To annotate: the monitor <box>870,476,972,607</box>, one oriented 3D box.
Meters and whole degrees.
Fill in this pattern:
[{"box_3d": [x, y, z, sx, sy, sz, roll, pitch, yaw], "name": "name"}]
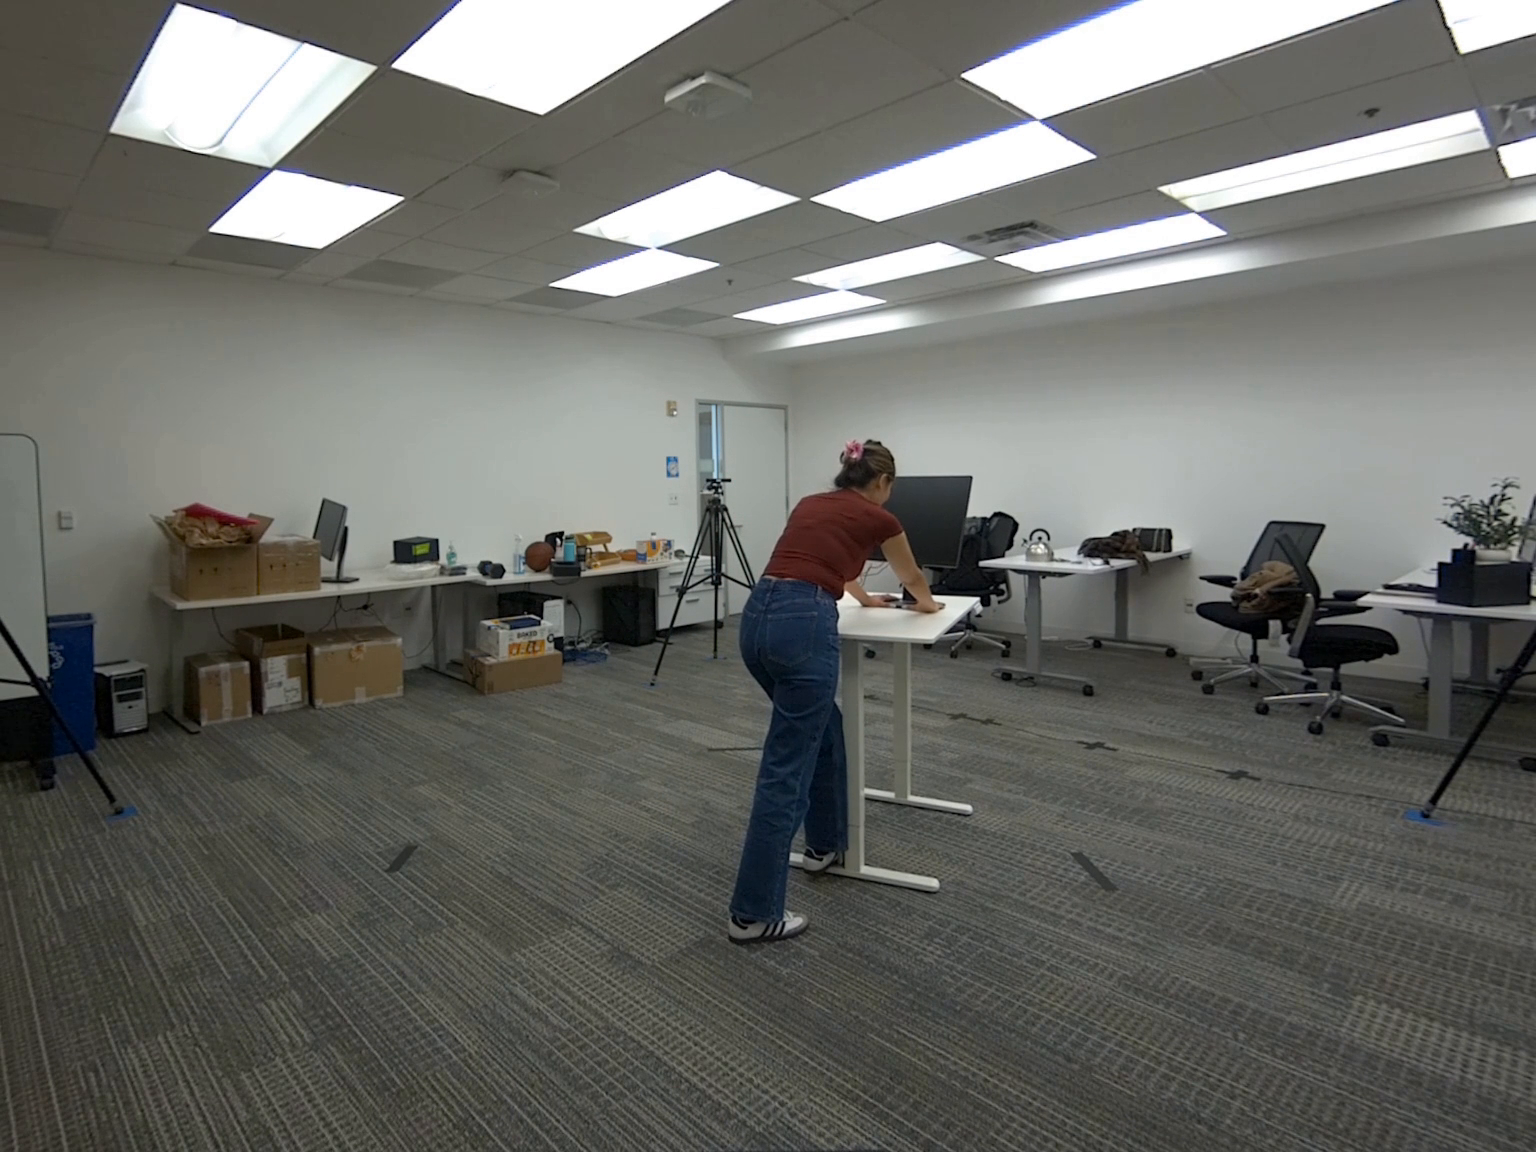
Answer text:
[{"box_3d": [0.557, -0.135, 3.397, 0.556, 0.521, 0.182, 5, 4, 40], "name": "monitor"}]
